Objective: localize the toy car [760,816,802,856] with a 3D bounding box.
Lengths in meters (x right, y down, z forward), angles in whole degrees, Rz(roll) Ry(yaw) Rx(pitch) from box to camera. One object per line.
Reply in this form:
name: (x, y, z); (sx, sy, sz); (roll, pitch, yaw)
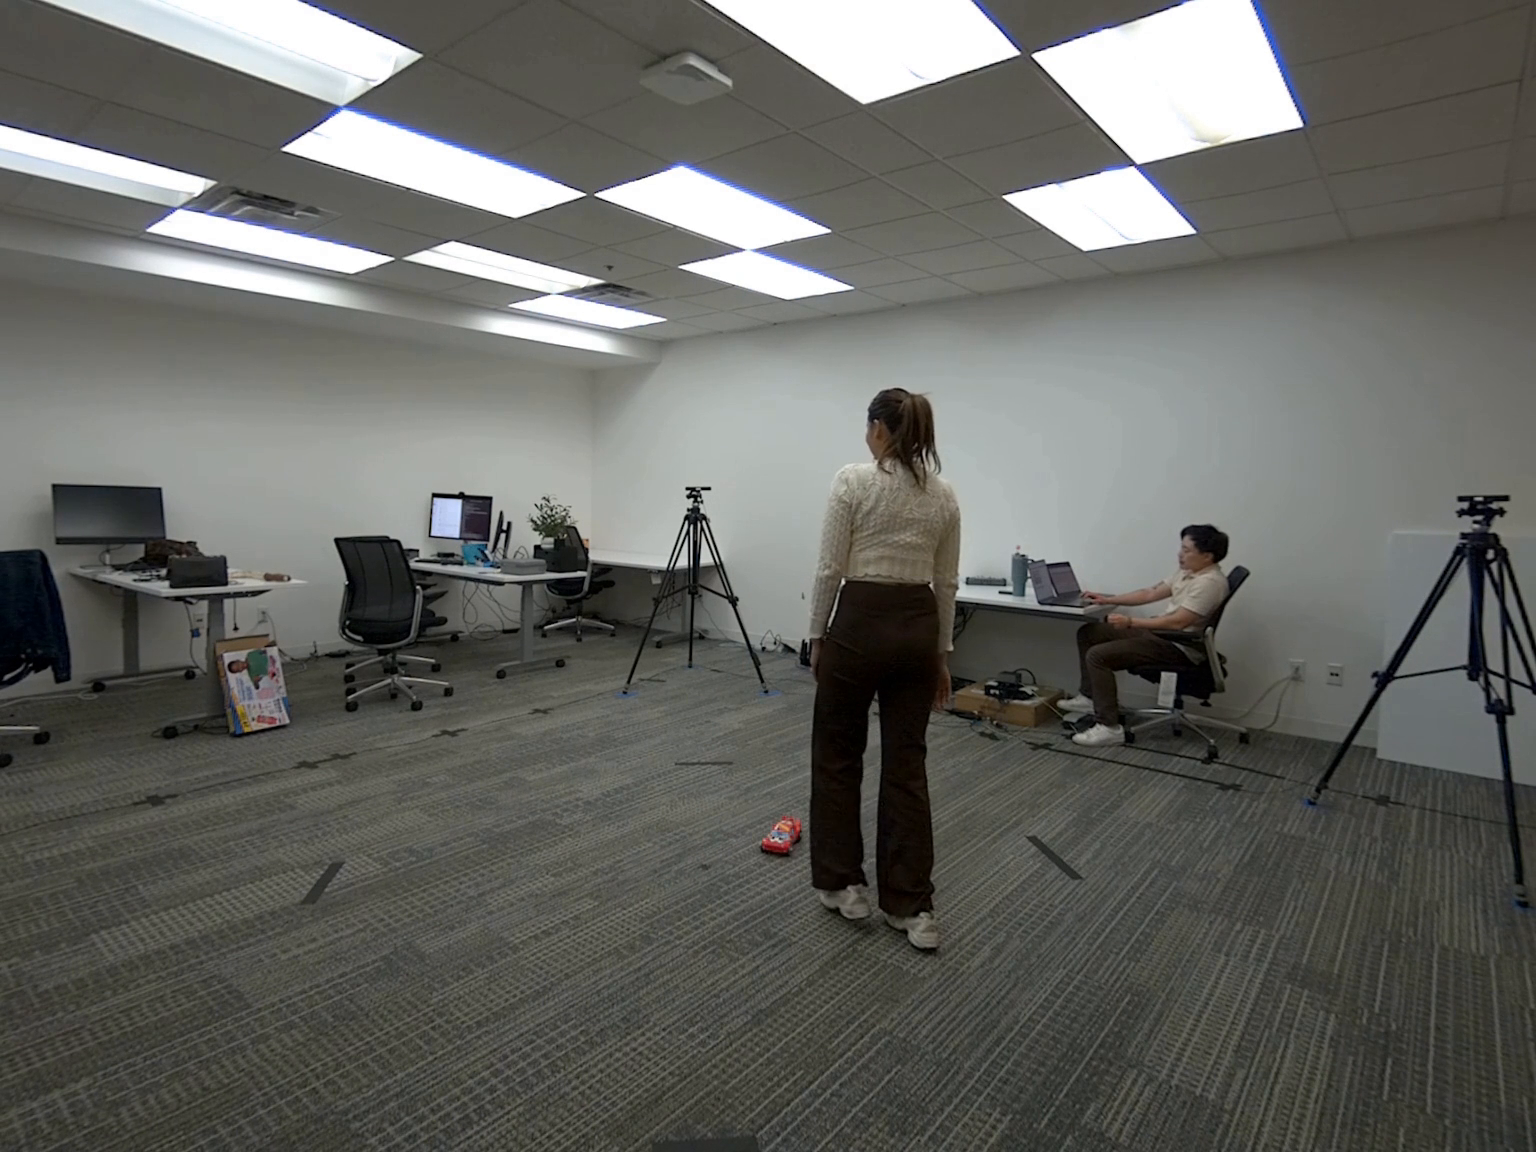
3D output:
toy car: (0.051, 1.012, 3.331); (0.133, 0.082, 0.253); (1, 17, 18)
